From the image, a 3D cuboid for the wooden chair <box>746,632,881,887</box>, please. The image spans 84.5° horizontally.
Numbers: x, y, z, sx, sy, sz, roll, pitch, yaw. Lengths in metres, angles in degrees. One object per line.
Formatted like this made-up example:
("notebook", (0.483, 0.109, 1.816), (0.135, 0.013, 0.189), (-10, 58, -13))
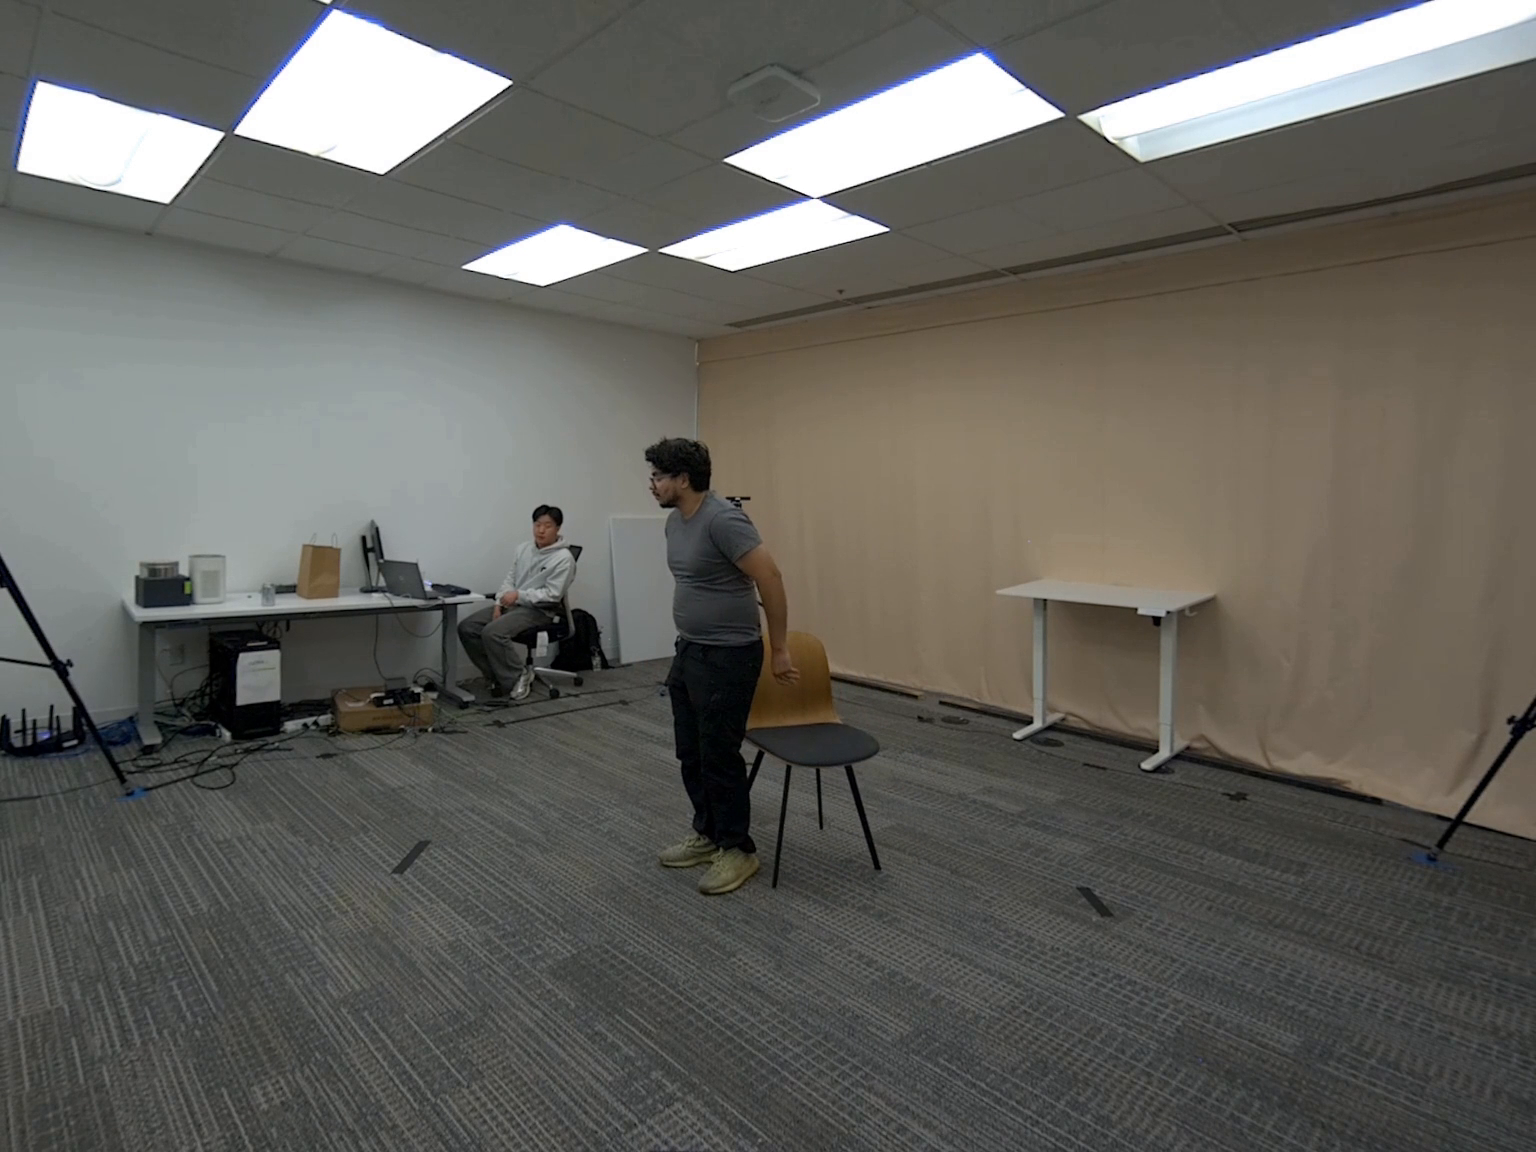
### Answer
("wooden chair", (0.139, 0.673, 3.266), (0.469, 0.878, 0.532), (0, -1, -25))
